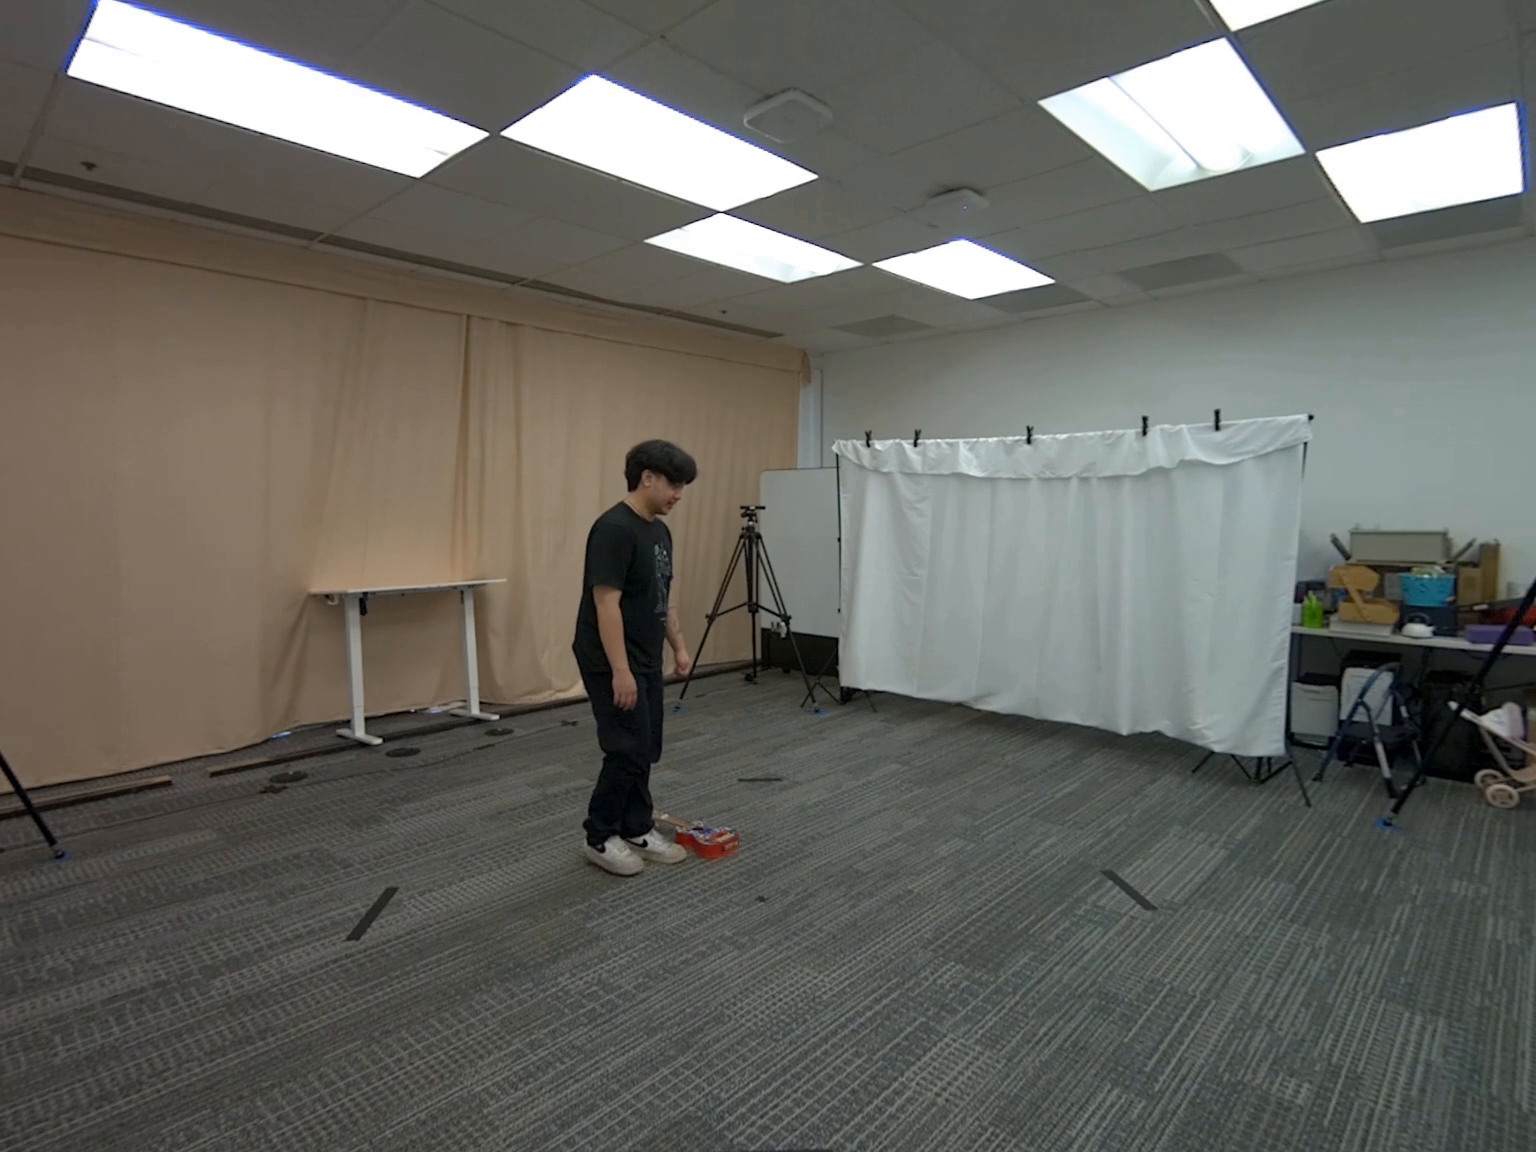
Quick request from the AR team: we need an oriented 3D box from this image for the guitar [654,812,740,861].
[{"bbox_3d":[-0.327,1.066,3.549,0.187,0.070,0.514,-5,7,-41],"label":"guitar"}]
